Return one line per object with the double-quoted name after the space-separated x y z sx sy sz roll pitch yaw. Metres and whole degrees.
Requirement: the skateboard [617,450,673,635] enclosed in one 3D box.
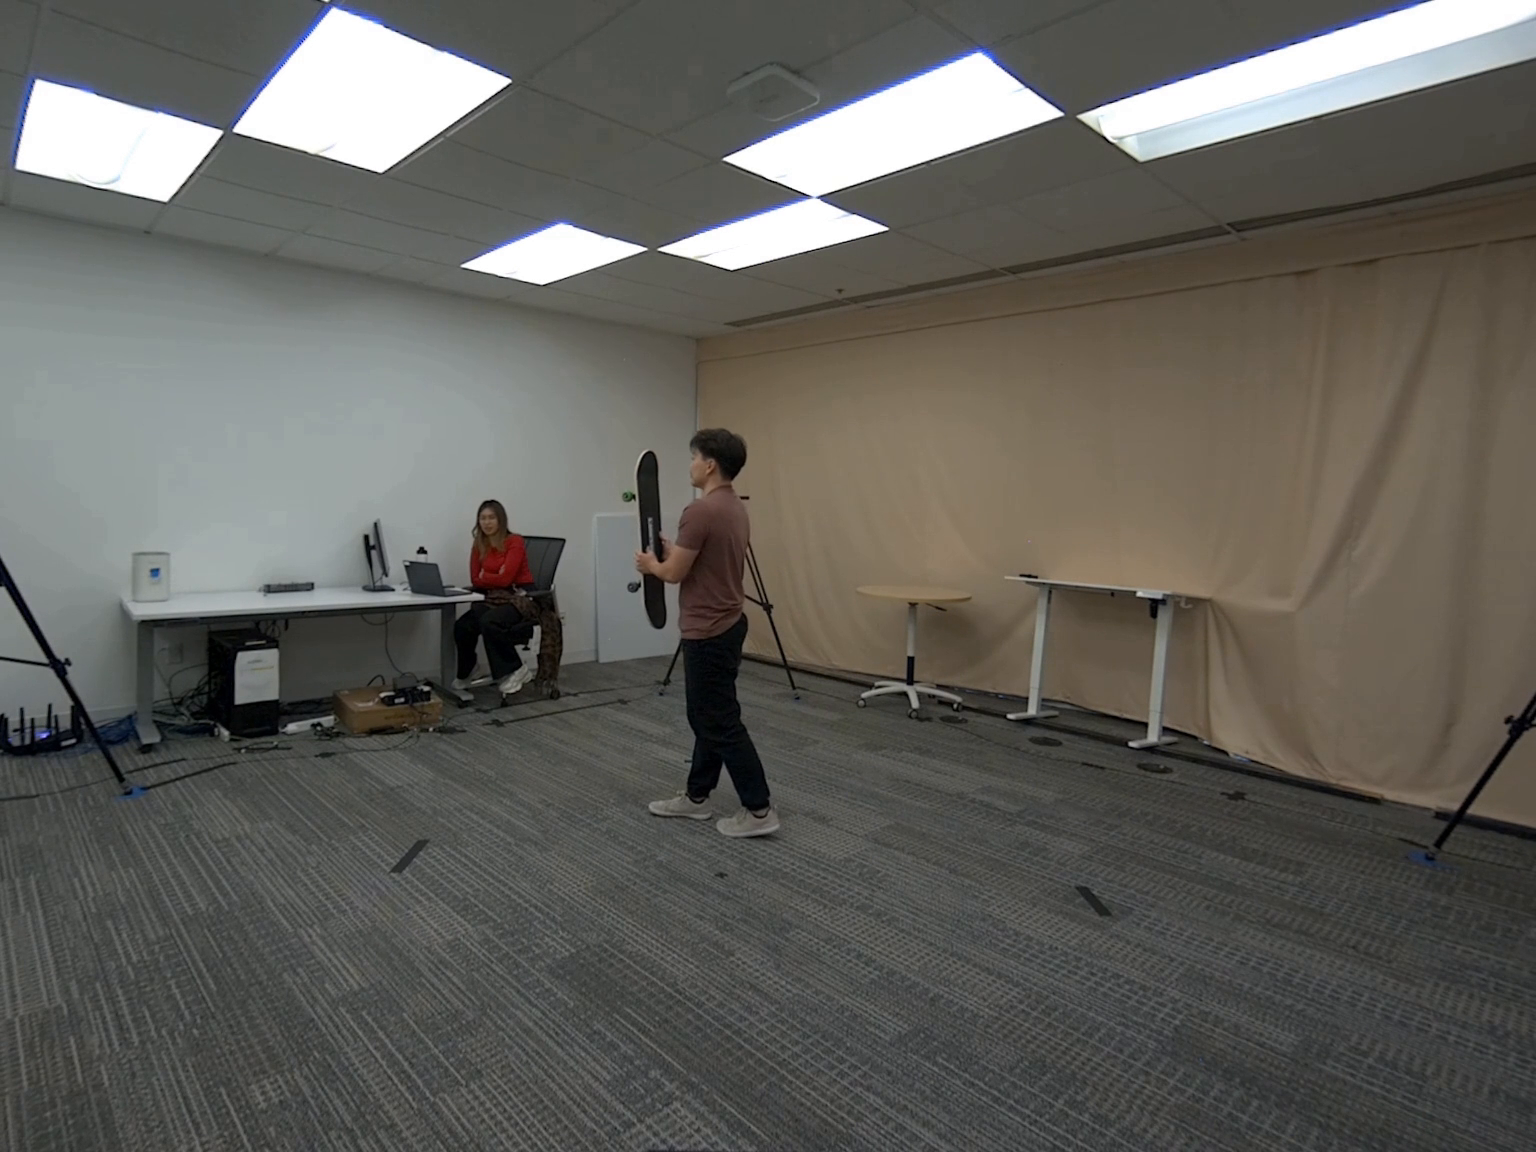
-0.540 -0.152 3.725 0.112 0.784 0.190 -3 2 23 "skateboard"
